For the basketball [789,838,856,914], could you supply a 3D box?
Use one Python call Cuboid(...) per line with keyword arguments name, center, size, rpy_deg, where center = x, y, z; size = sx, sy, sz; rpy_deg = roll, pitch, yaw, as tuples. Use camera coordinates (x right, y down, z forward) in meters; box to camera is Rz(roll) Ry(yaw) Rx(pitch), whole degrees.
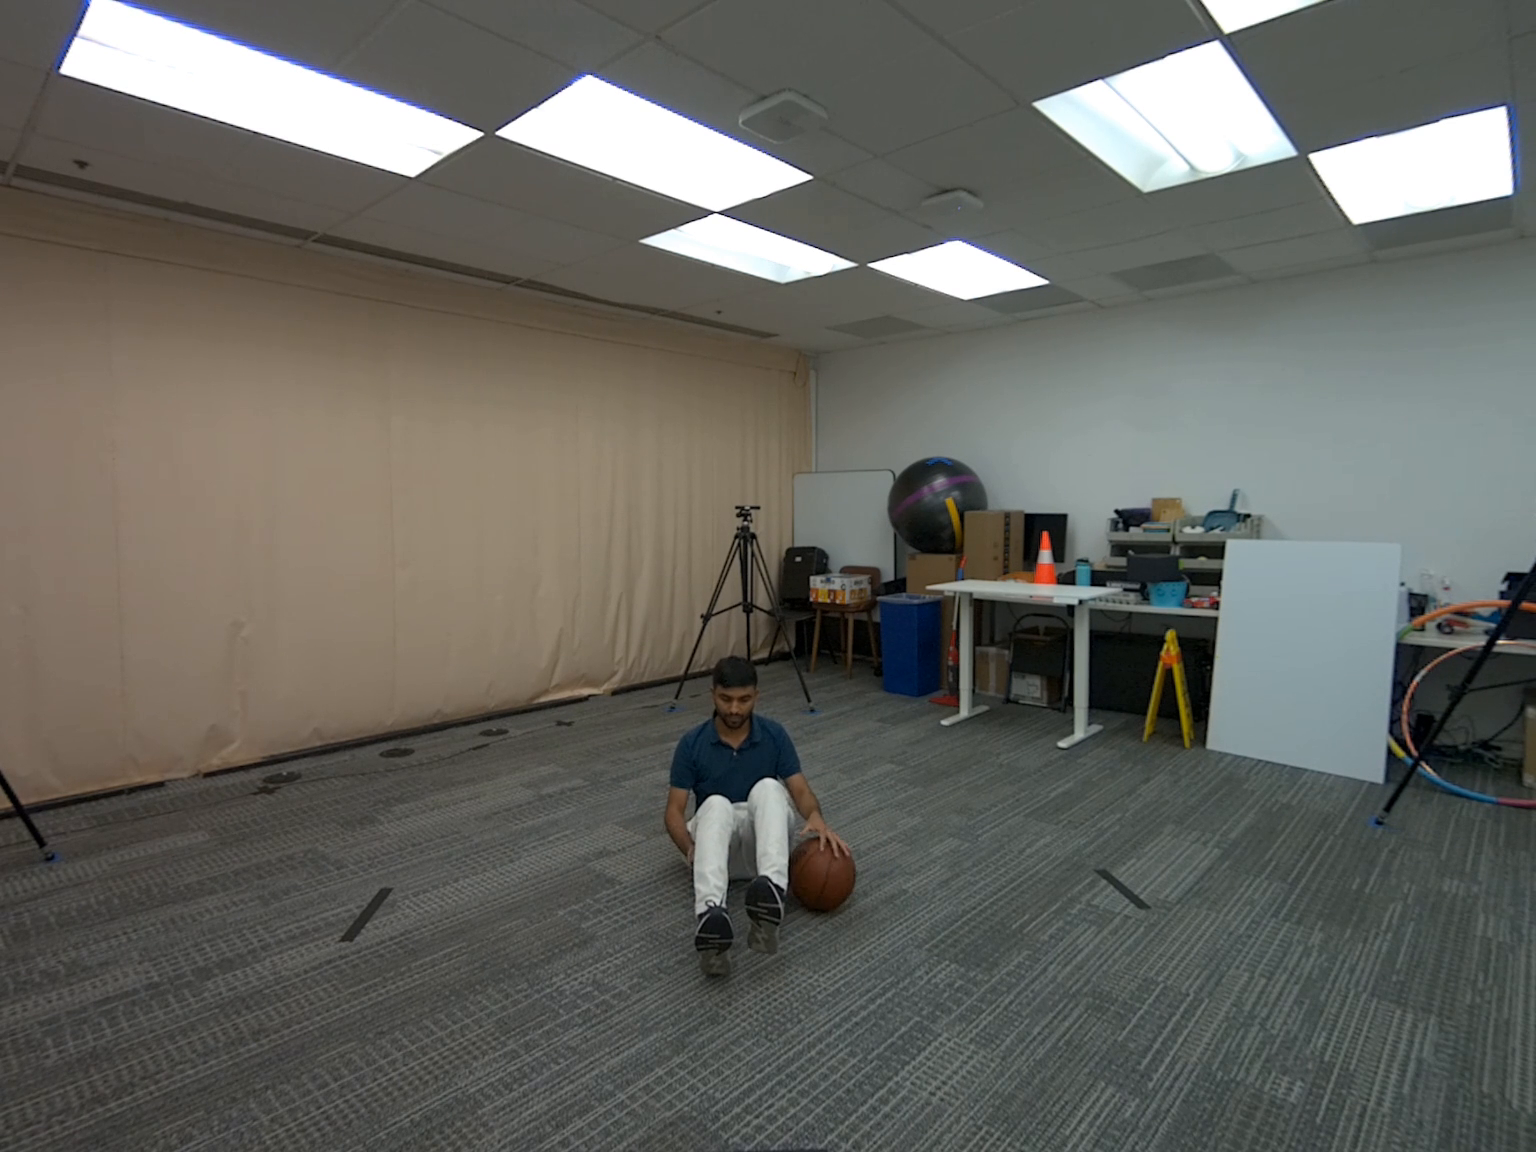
Cuboid(name="basketball", center=(0.169, 1.018, 2.915), size=(0.236, 0.235, 0.237), rpy_deg=(0, 4, -2))
